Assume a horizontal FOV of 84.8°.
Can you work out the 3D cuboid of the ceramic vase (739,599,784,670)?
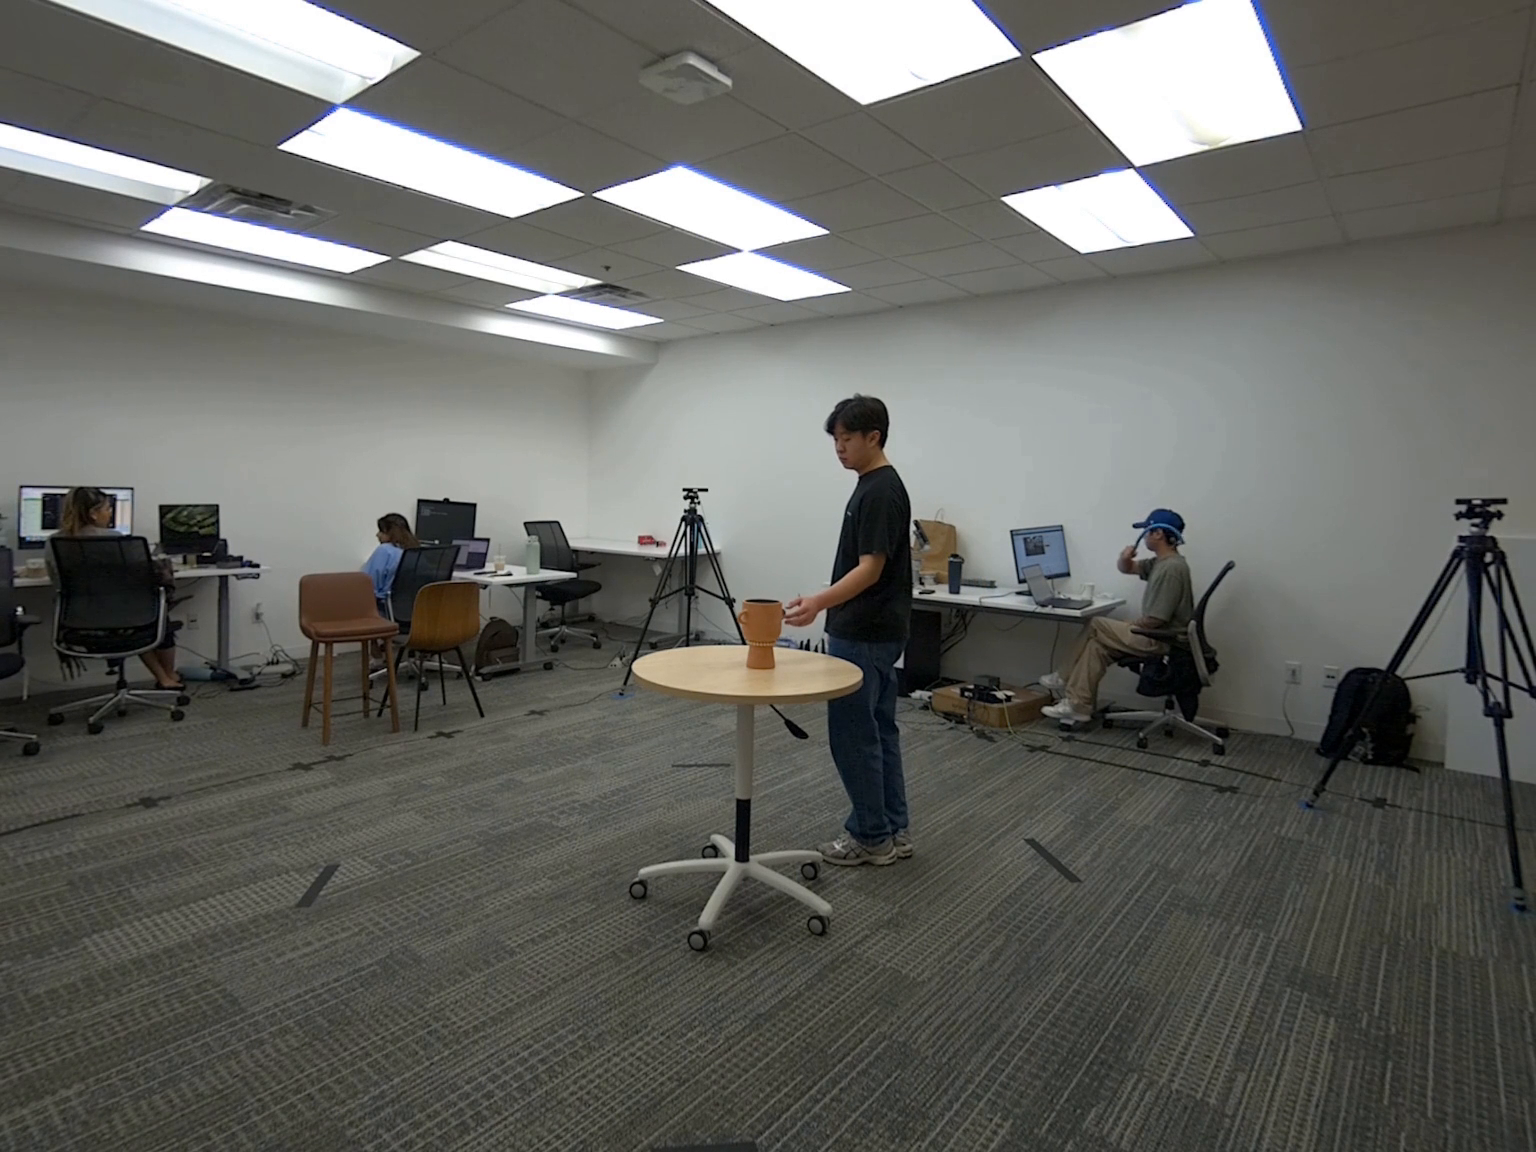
[{"bbox_3d":[-0.027,0.193,2.852,0.160,0.219,0.134,3,3,4],"label":"ceramic vase"}]
